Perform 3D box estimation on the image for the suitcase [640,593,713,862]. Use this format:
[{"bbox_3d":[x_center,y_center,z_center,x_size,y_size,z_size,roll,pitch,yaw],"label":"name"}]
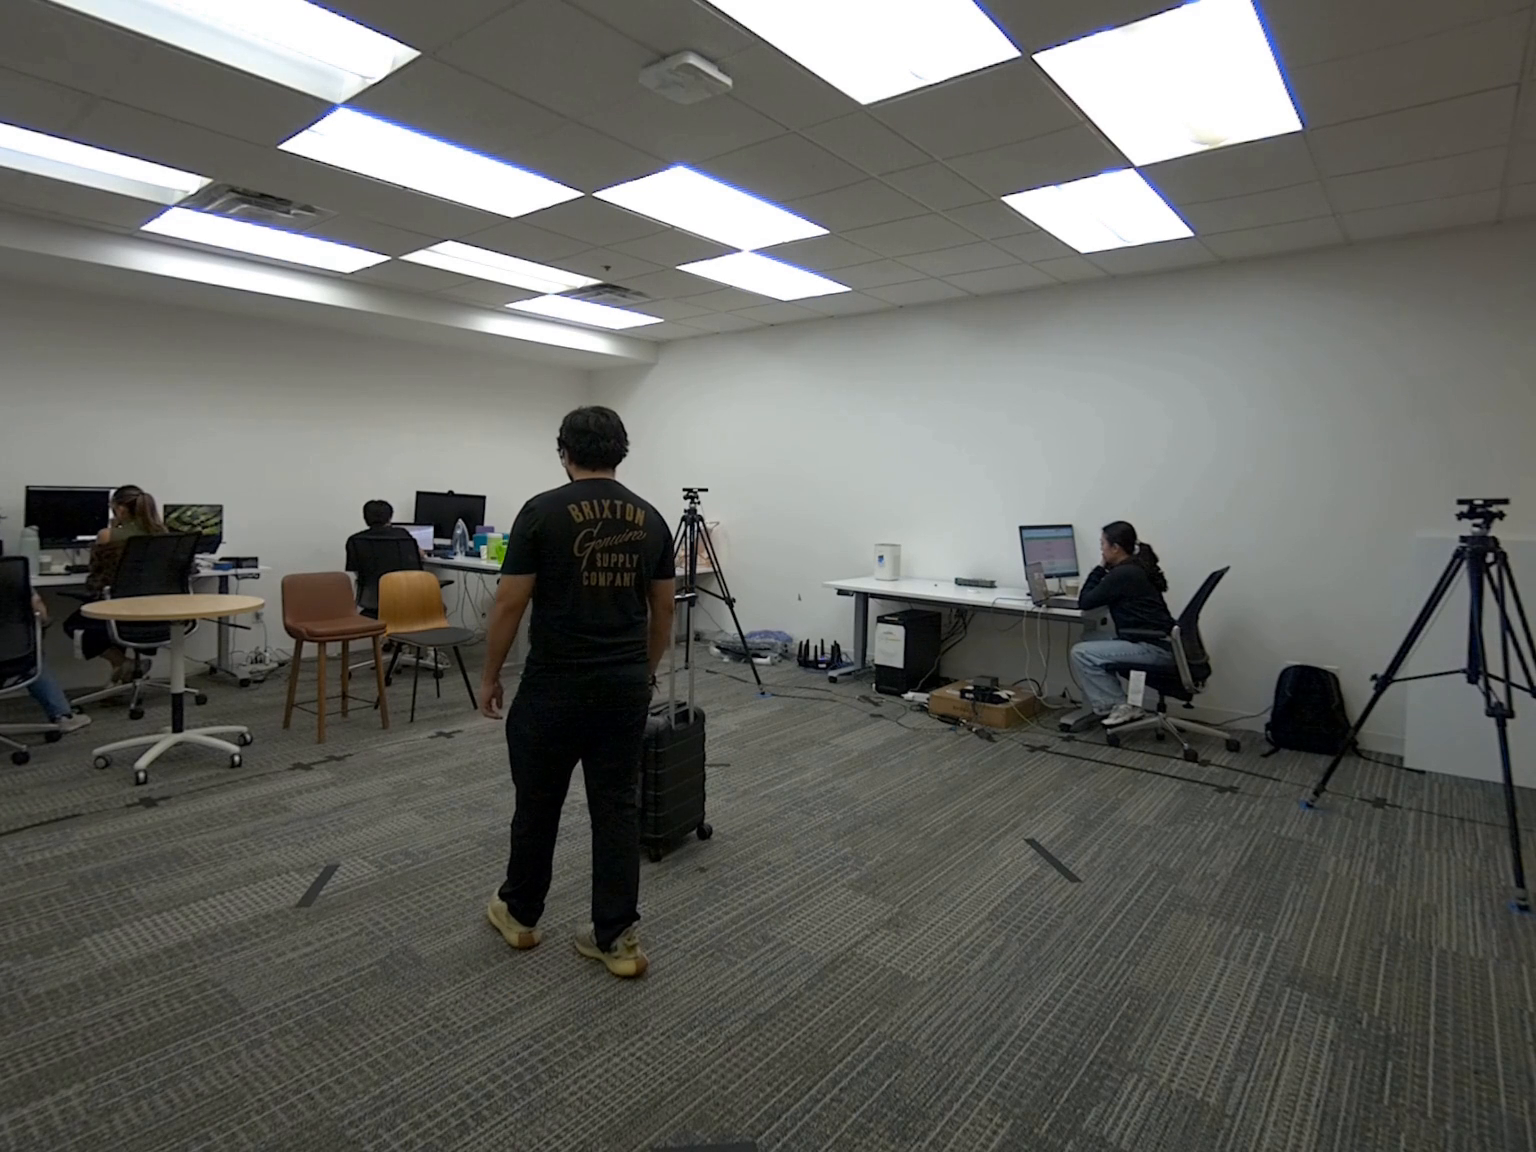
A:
[{"bbox_3d":[-0.437,0.570,3.321,0.264,0.977,0.374,0,2,30],"label":"suitcase"}]
